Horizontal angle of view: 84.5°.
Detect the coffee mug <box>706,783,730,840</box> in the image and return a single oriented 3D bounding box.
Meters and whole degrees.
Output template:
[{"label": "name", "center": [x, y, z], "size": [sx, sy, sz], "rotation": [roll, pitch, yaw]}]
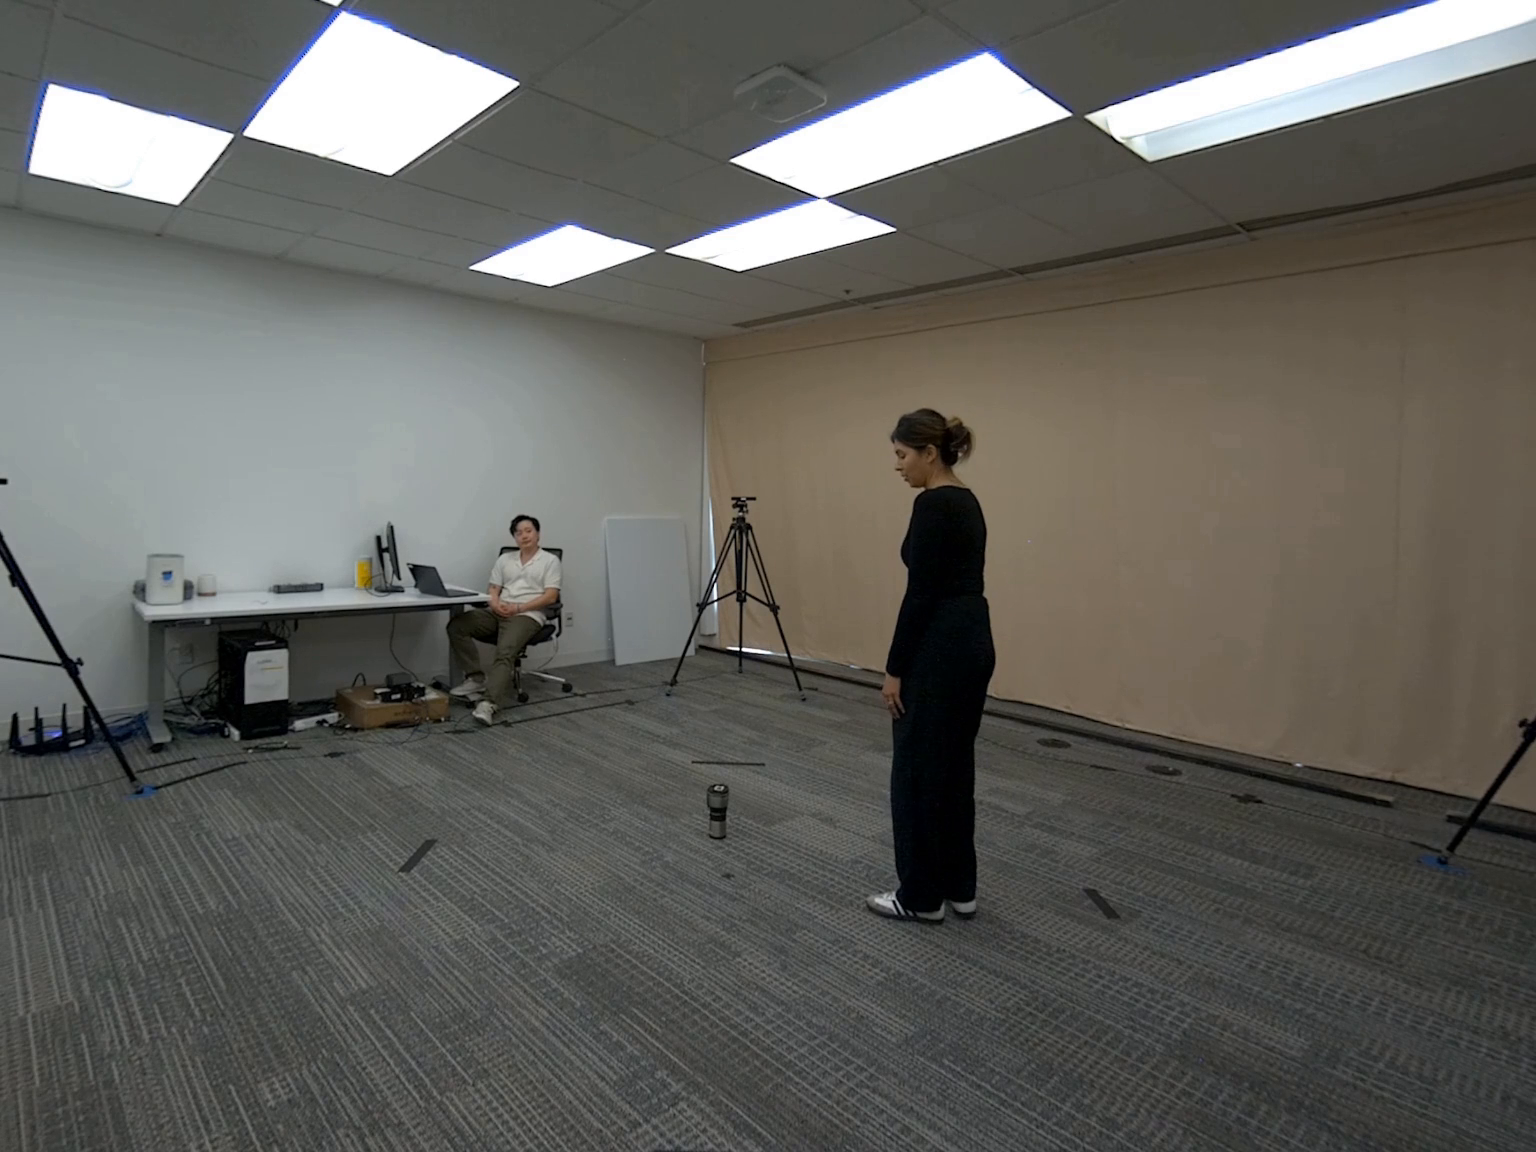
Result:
[{"label": "coffee mug", "center": [-0.213, 0.972, 3.488], "size": [0.088, 0.202, 0.122], "rotation": [1, 5, 2]}]
